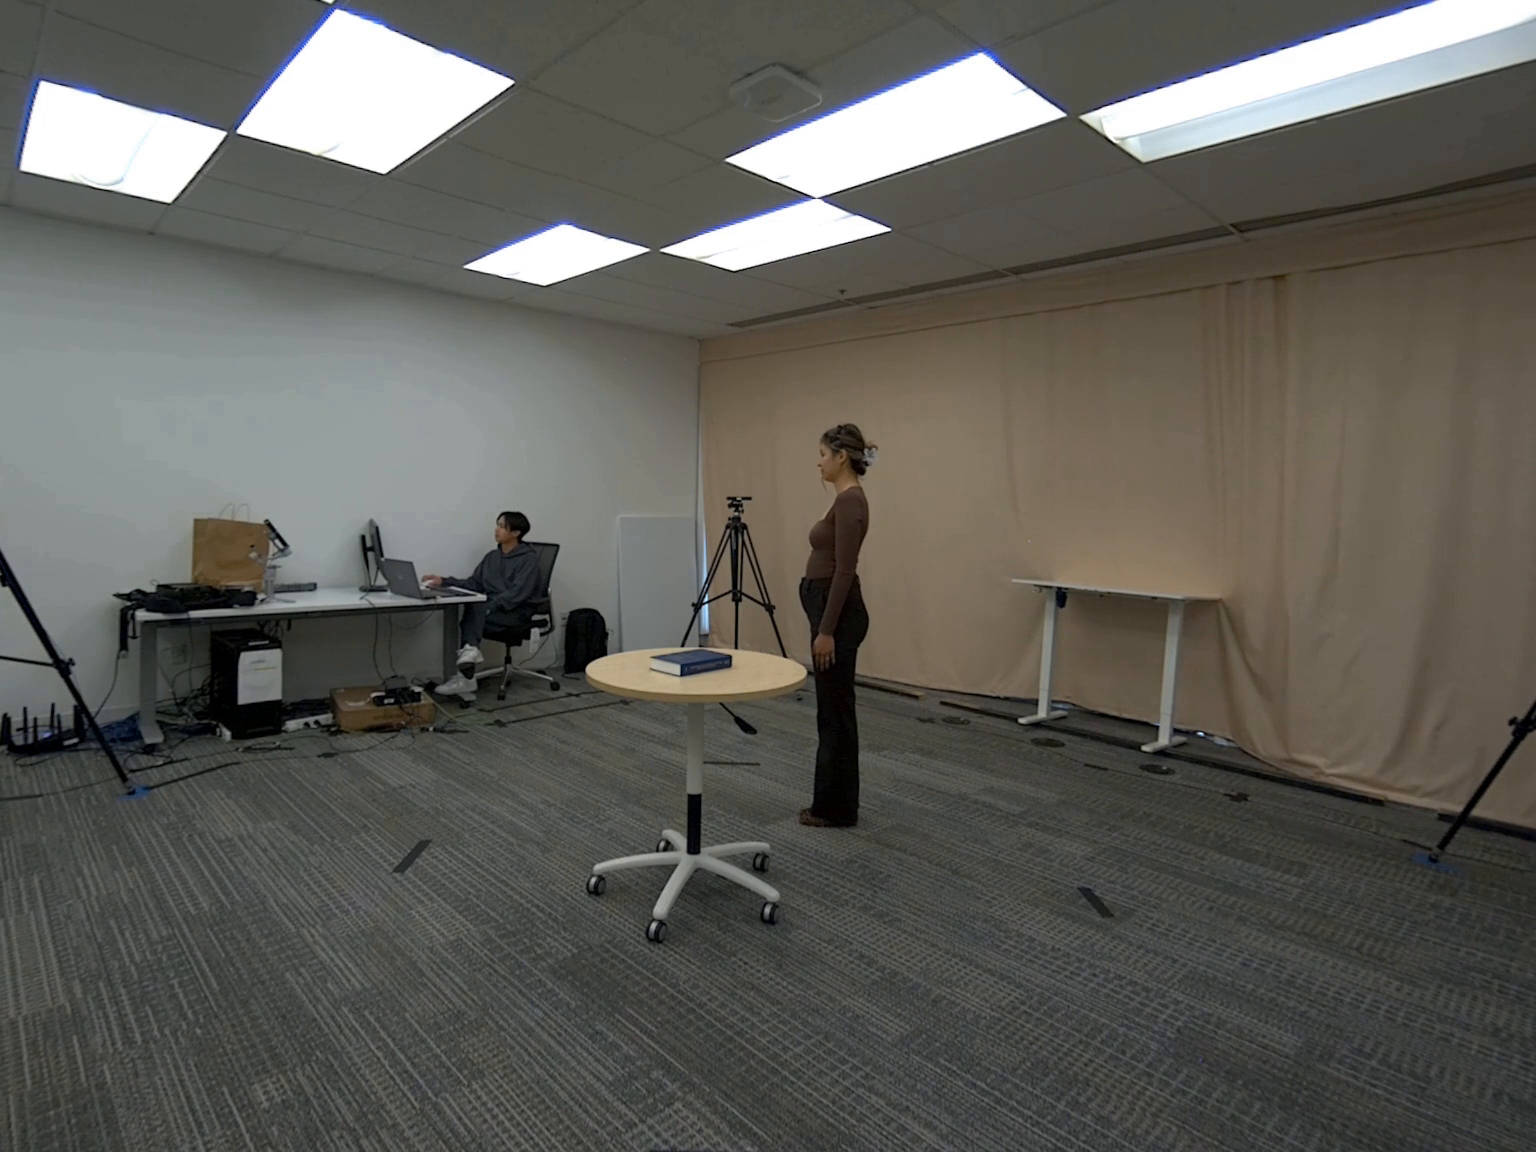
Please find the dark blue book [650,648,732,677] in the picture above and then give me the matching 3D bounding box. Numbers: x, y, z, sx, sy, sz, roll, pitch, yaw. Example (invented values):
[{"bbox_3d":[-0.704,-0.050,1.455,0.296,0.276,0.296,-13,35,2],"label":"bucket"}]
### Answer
[{"bbox_3d":[-0.275,0.301,2.922,0.167,0.045,0.240,6,8,43],"label":"dark blue book"}]
